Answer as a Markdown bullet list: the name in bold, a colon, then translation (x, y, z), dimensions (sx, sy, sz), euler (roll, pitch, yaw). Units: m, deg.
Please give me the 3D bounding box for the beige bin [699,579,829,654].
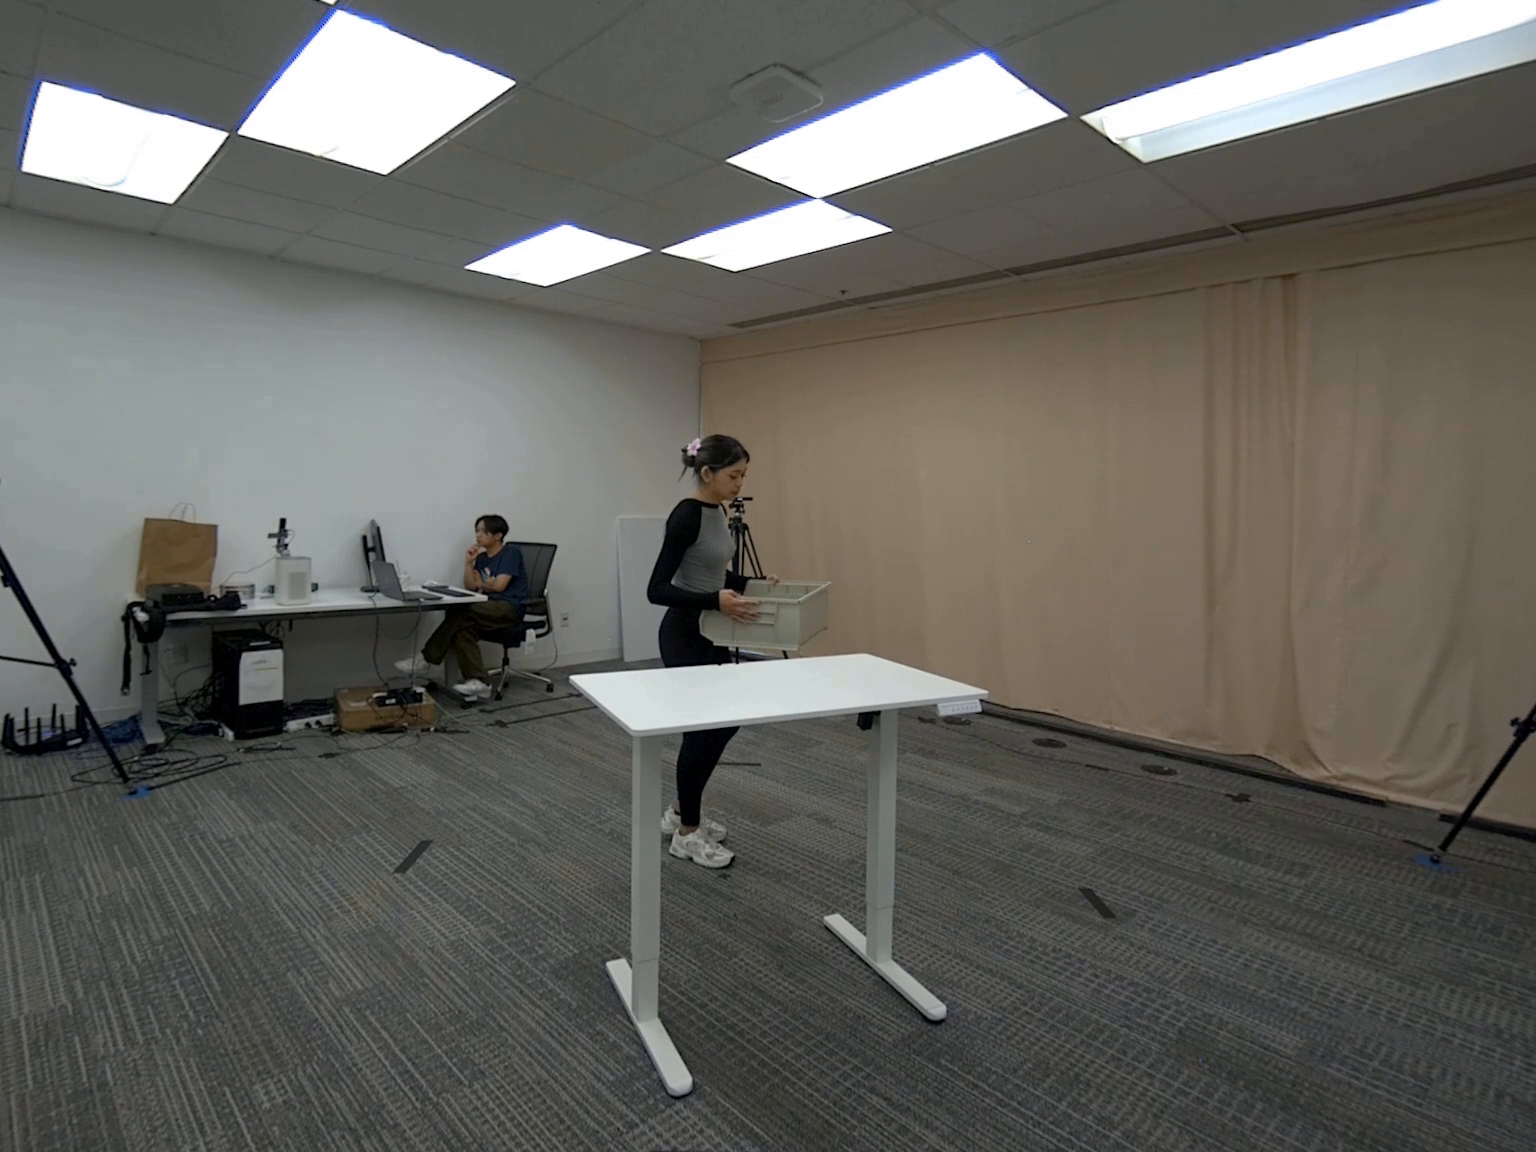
- **beige bin**: translation (-0.005, 0.136, 3.107), dimensions (0.383, 0.188, 0.417), euler (4, 7, 19)
